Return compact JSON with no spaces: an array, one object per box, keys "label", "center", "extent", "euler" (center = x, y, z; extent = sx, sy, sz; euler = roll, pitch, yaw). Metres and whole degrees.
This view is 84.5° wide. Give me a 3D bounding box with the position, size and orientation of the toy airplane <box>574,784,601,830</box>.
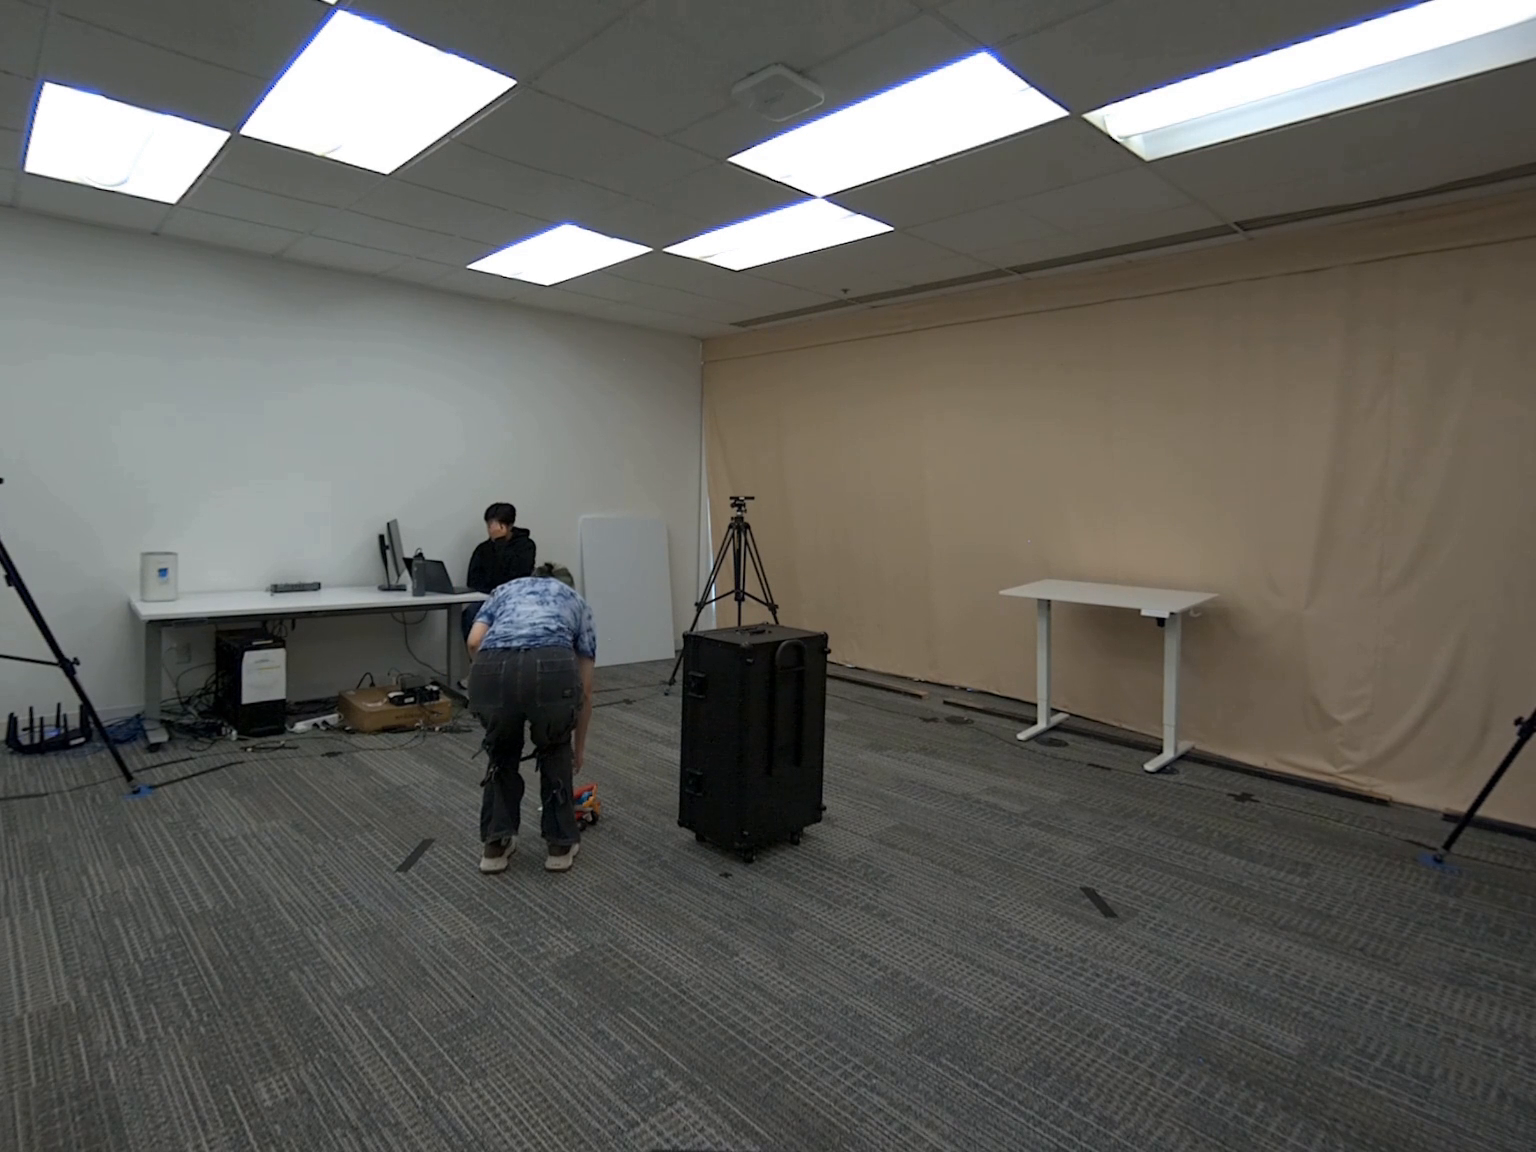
[{"label":"toy airplane","center":[-0.845,0.972,3.548],"extent":[0.259,0.156,0.252],"euler":[1,5,-2]}]
